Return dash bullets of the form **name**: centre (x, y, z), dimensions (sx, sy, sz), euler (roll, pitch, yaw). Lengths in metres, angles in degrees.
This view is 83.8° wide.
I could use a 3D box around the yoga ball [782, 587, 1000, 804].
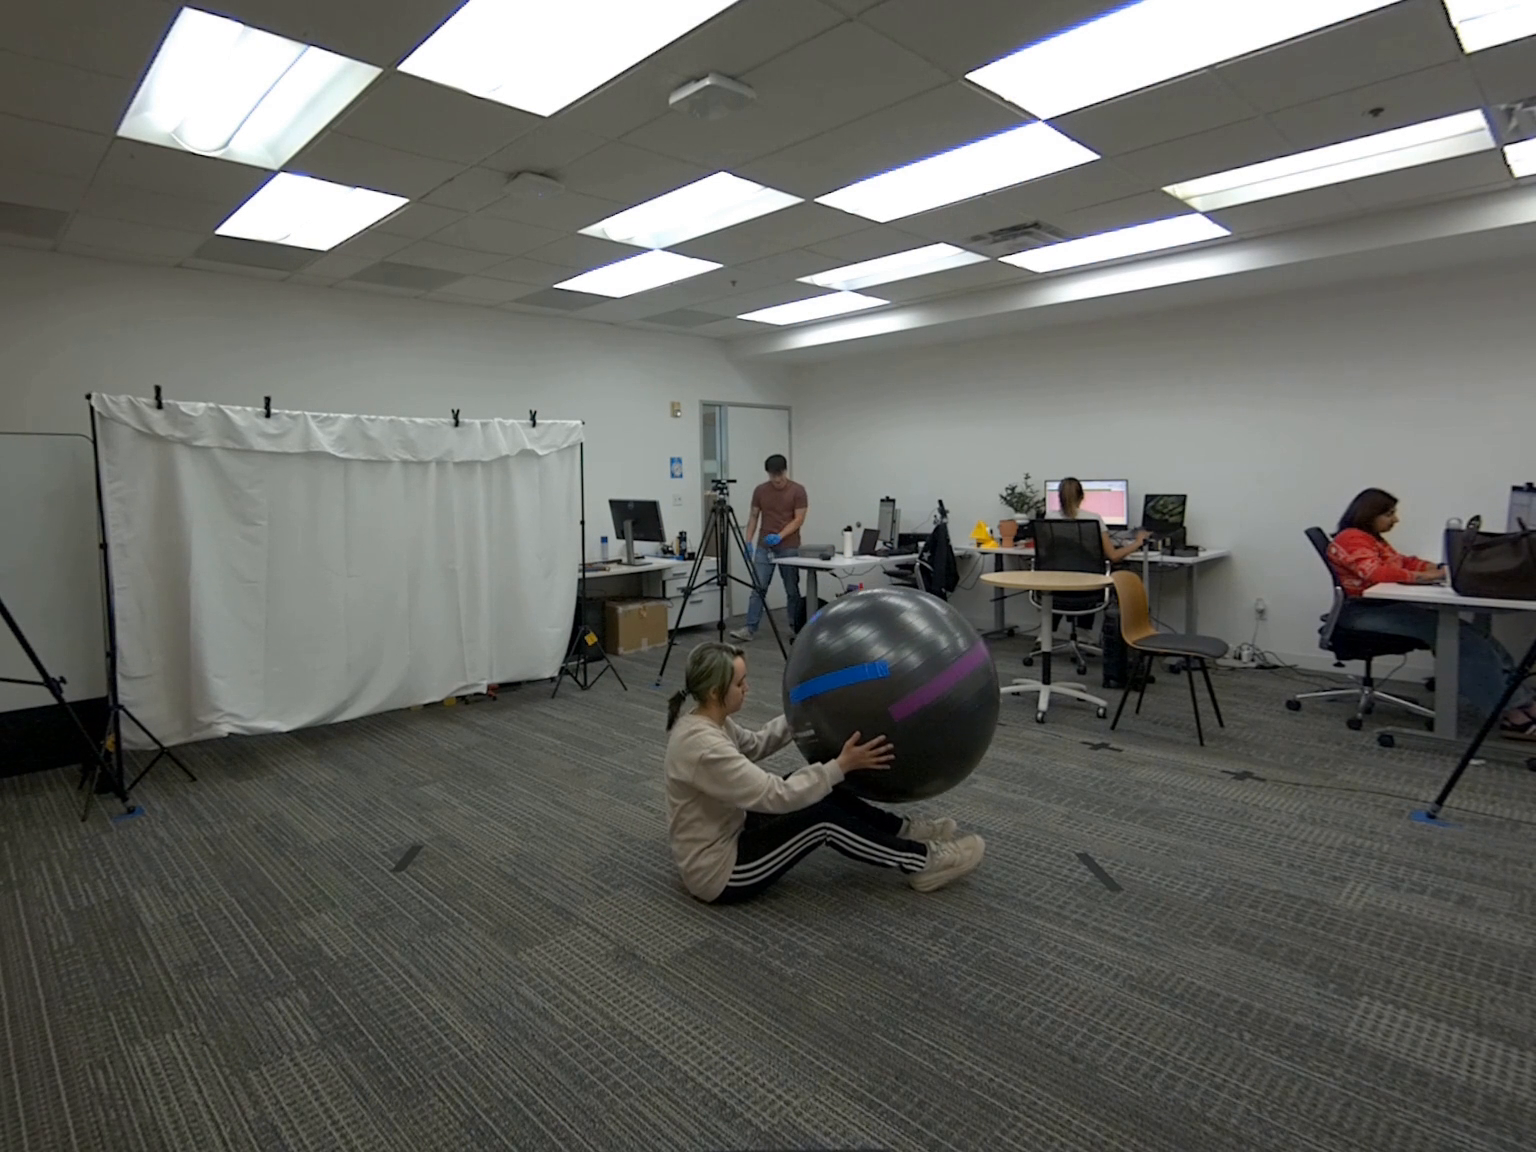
- **yoga ball**: centre (0.438, 0.419, 3.053), dimensions (0.757, 0.755, 0.762), euler (-1, 5, -2)
